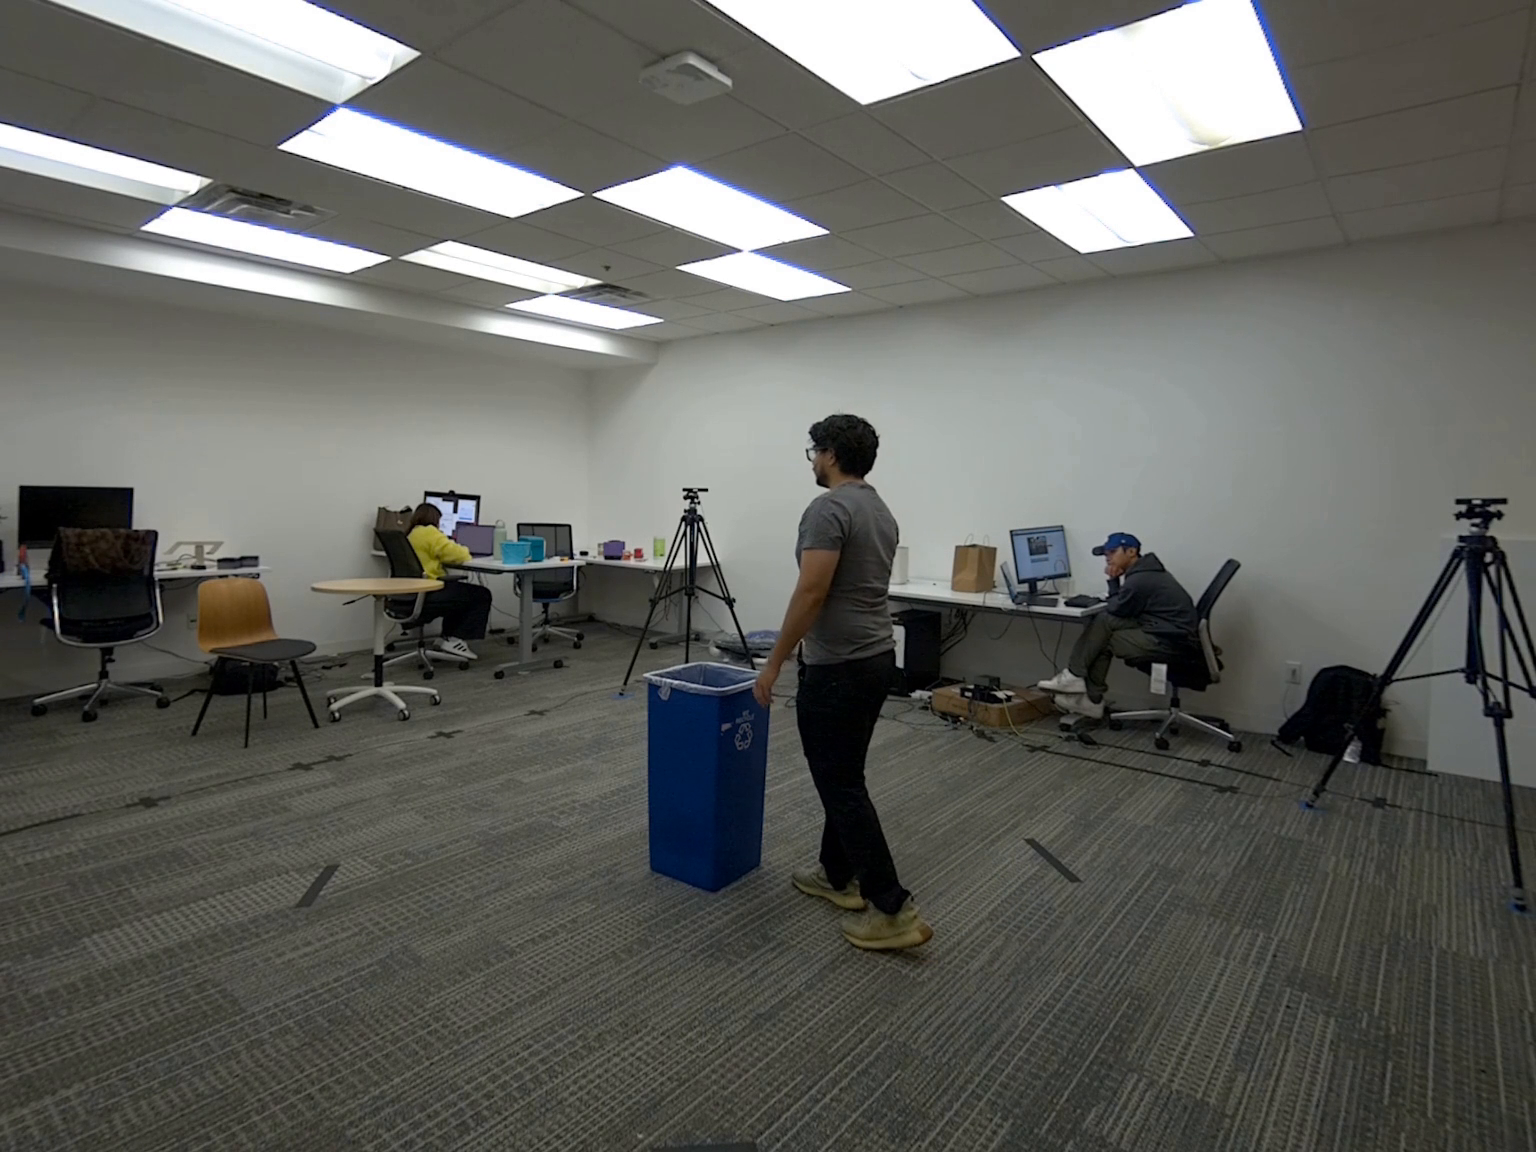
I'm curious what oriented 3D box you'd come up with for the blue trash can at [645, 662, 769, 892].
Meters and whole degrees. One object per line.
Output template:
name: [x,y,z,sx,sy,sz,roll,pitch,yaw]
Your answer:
blue trash can: [-0.231,0.710,3.126,0.390,0.712,0.363,3,4,35]
